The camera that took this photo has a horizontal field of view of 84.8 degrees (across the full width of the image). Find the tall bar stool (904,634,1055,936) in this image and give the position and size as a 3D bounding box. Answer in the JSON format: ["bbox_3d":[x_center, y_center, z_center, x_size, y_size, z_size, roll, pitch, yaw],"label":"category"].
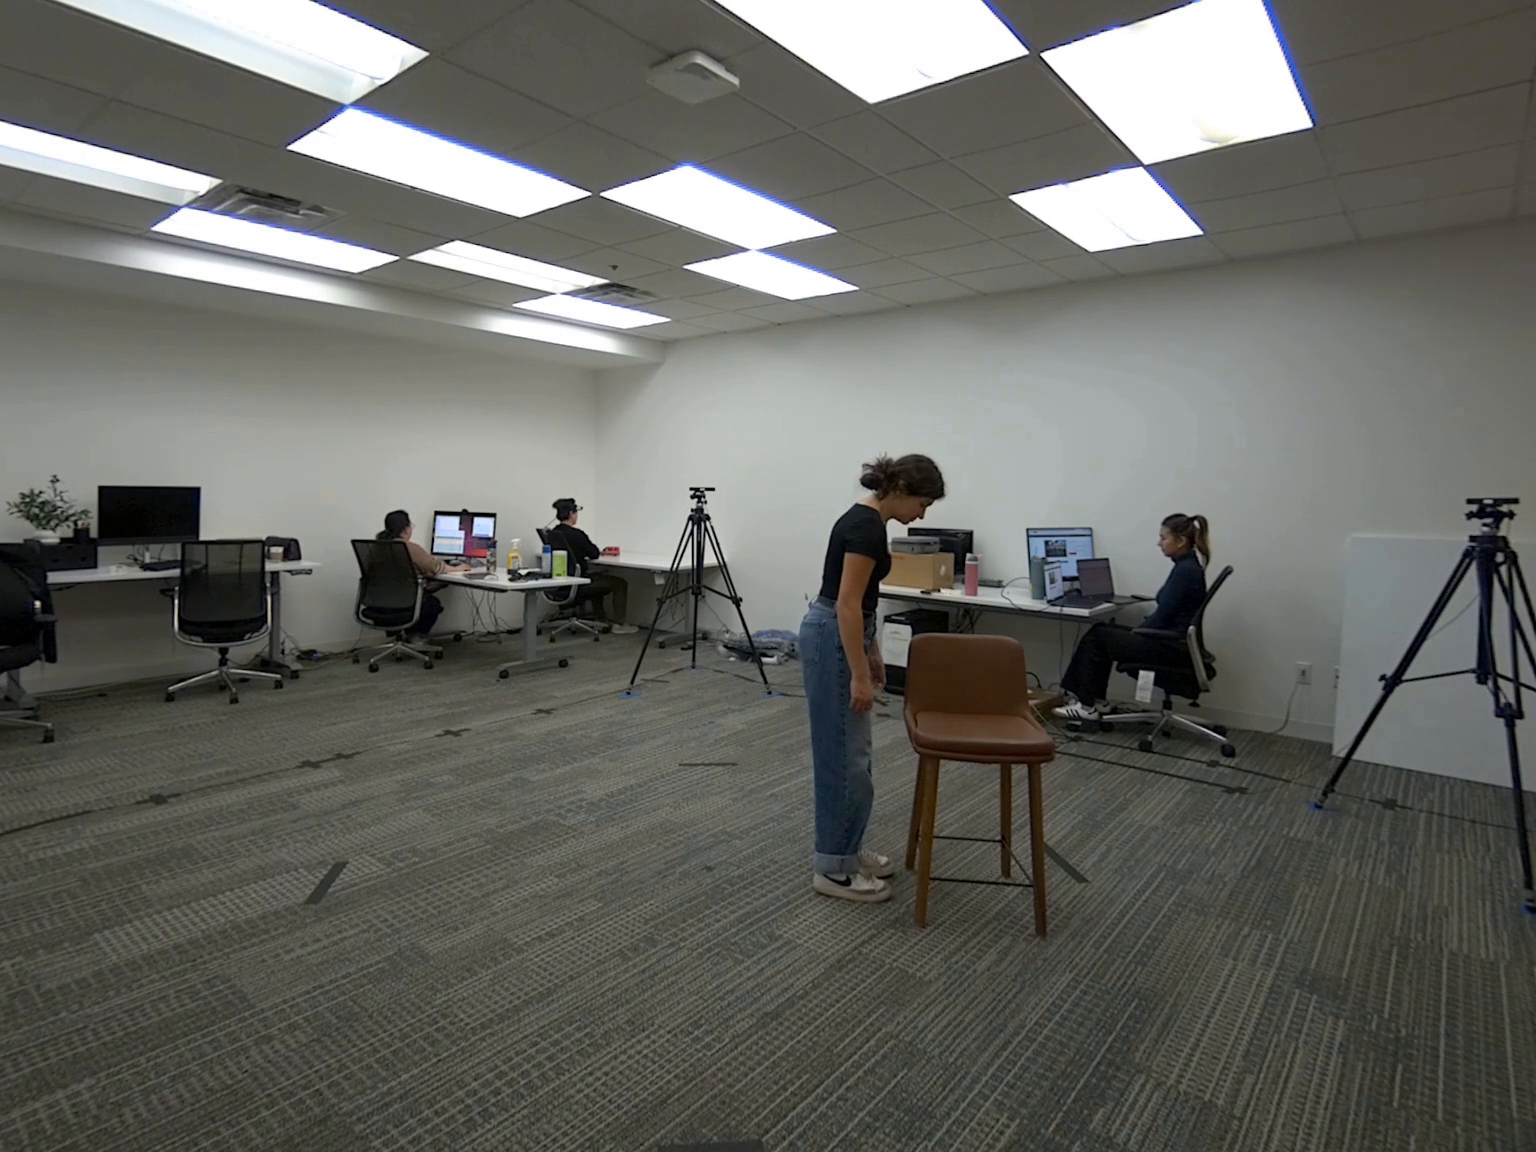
[{"bbox_3d":[0.702,0.676,2.903,0.460,0.888,0.465,2,2,5],"label":"tall bar stool"}]
